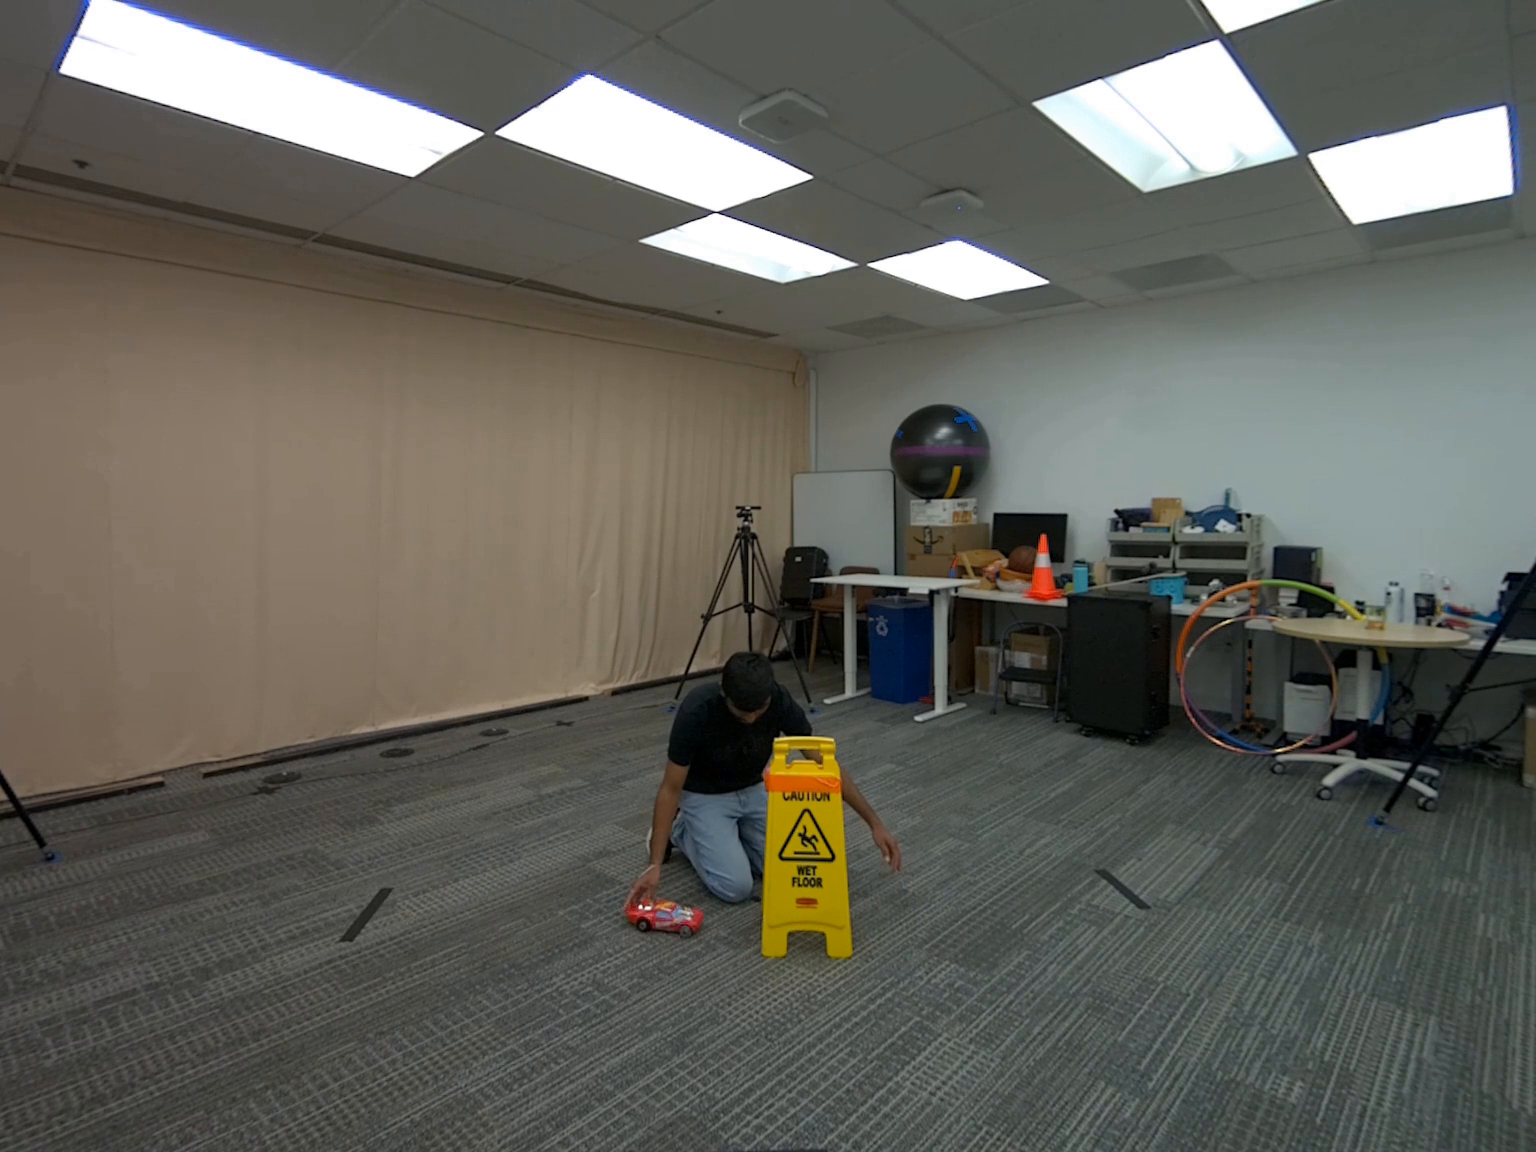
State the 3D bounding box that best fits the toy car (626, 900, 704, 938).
[{"bbox_3d":[-0.320,1.124,2.797,0.259,0.083,0.128,11,11,15],"label":"toy car"}]
